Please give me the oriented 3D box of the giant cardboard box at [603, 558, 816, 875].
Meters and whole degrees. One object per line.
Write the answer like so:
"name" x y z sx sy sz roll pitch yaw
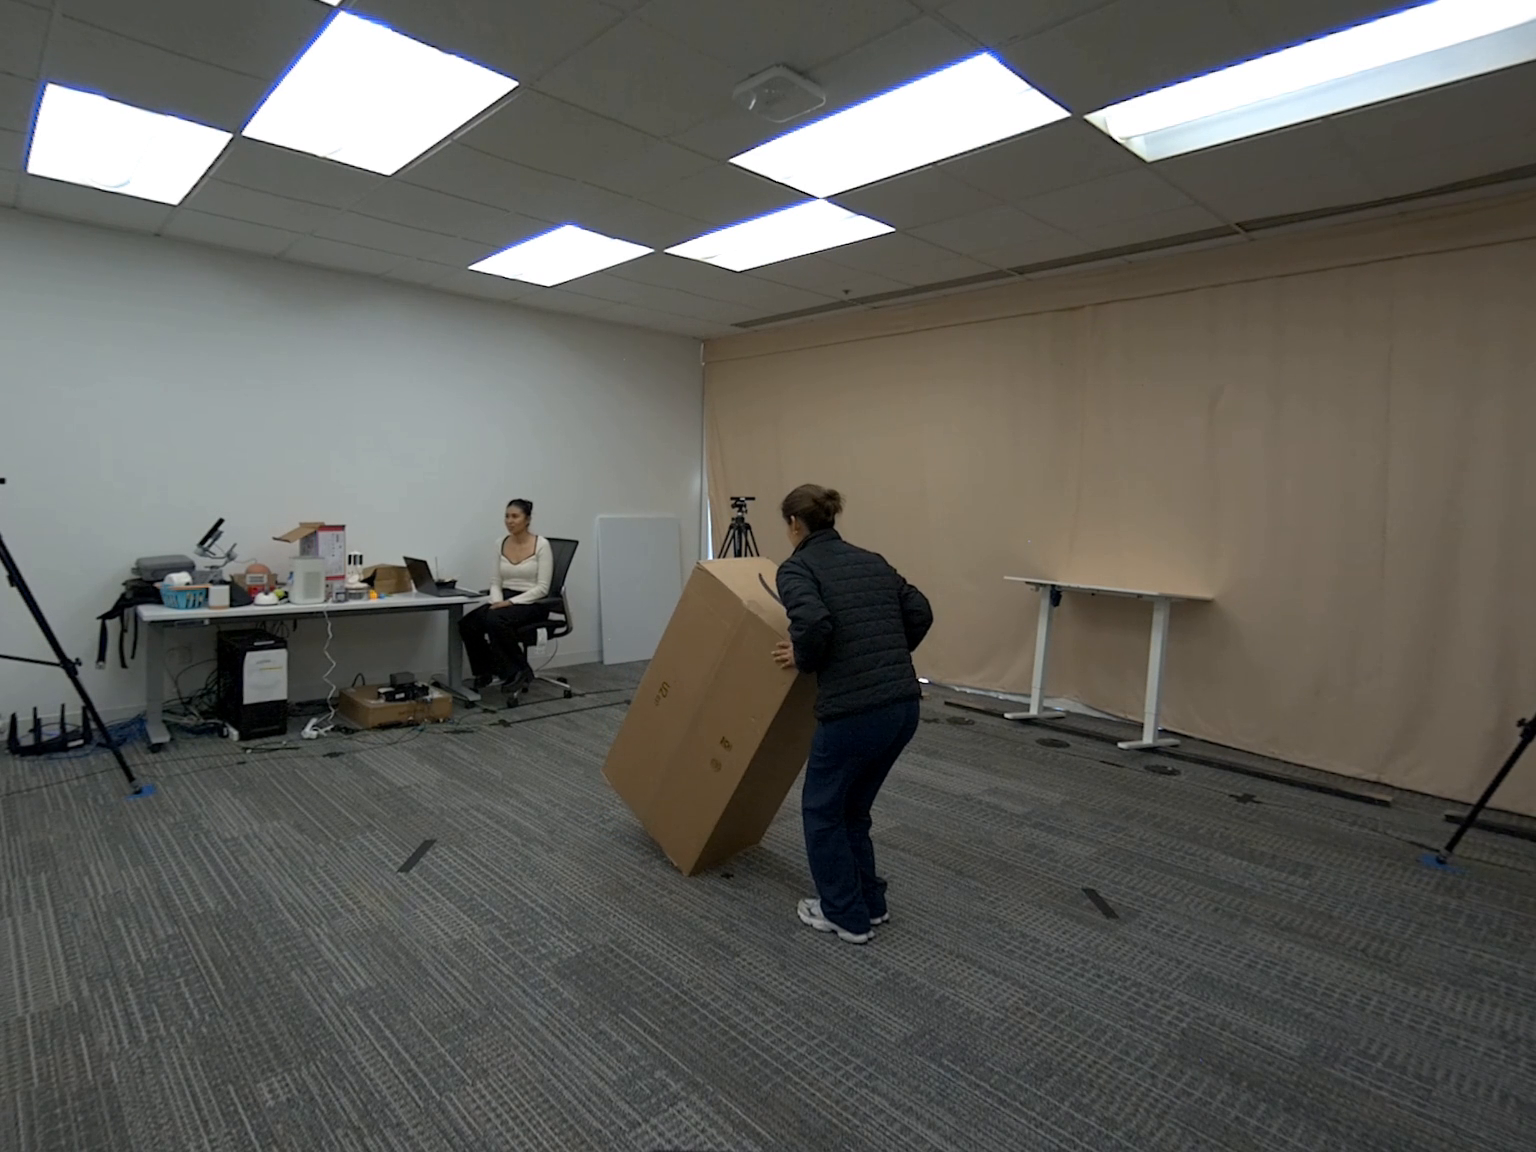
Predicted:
"giant cardboard box" -0.150 0.518 3.210 0.601 1.020 0.436 41 25 32
